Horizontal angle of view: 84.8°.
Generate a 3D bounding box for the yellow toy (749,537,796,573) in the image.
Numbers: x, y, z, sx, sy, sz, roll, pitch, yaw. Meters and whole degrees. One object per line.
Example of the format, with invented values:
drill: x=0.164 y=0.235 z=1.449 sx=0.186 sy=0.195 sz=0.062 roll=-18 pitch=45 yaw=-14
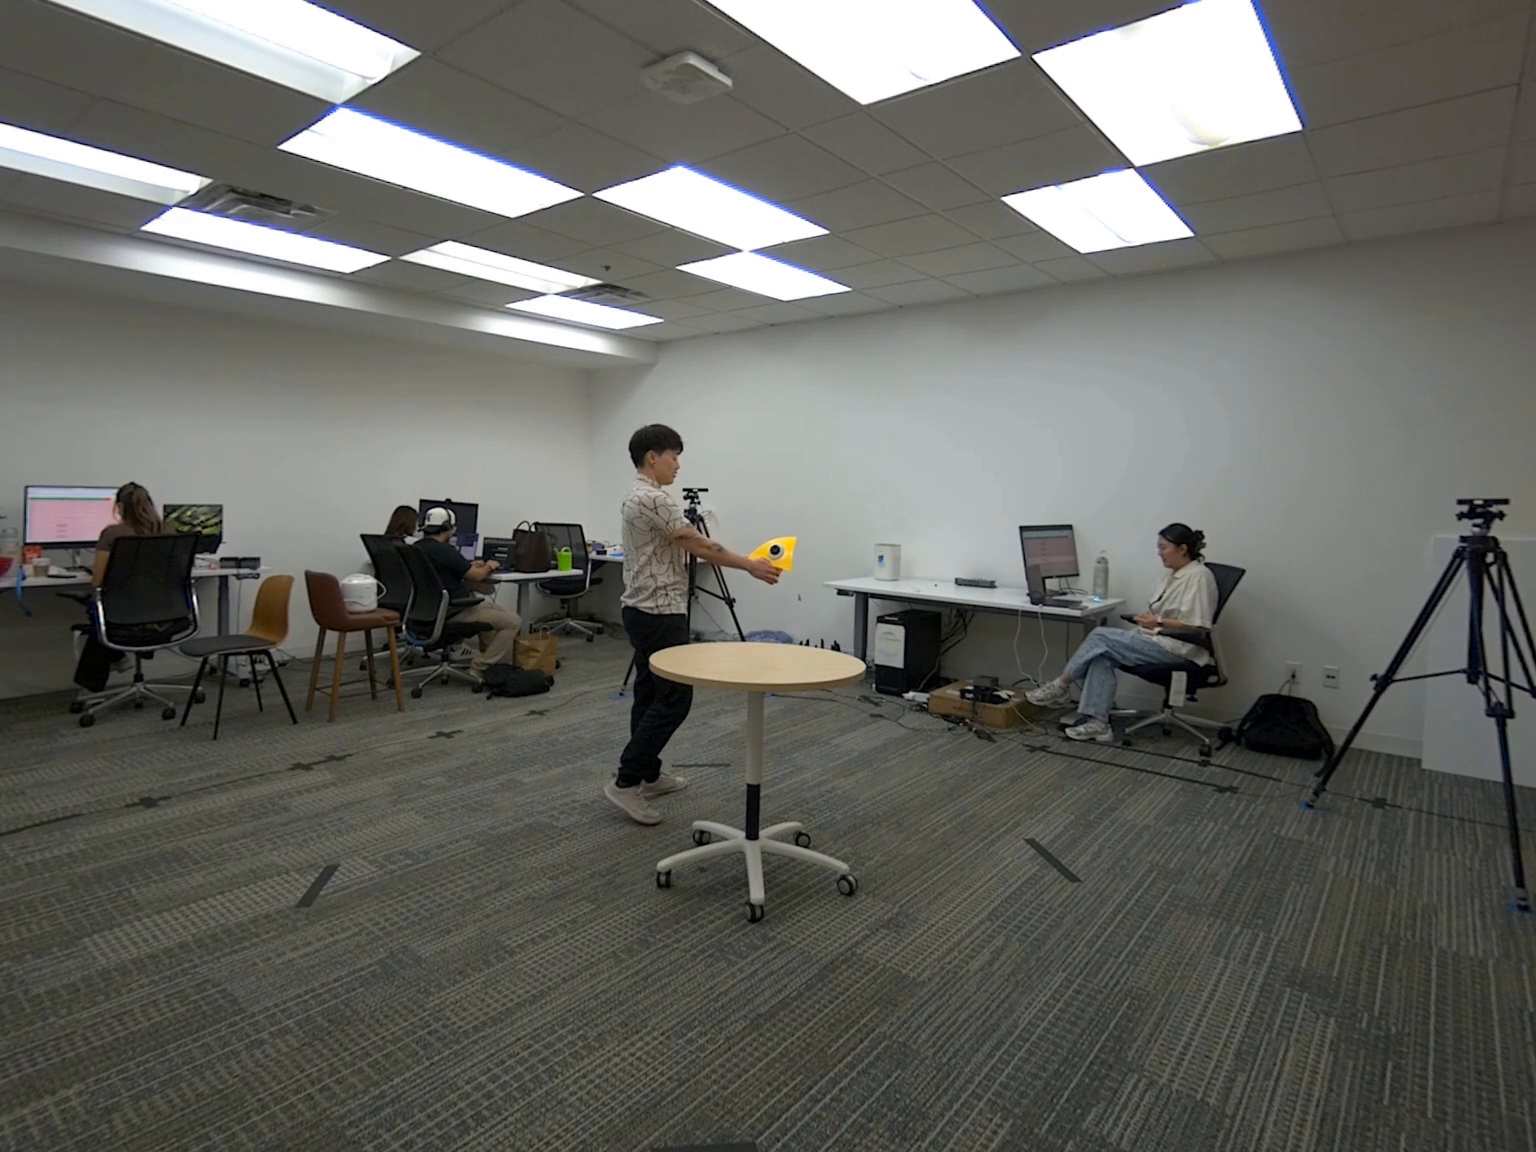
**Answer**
yellow toy: x=0.005 y=-0.104 z=3.840 sx=0.190 sy=0.230 sz=0.208 roll=26 pitch=1 yaw=-11
